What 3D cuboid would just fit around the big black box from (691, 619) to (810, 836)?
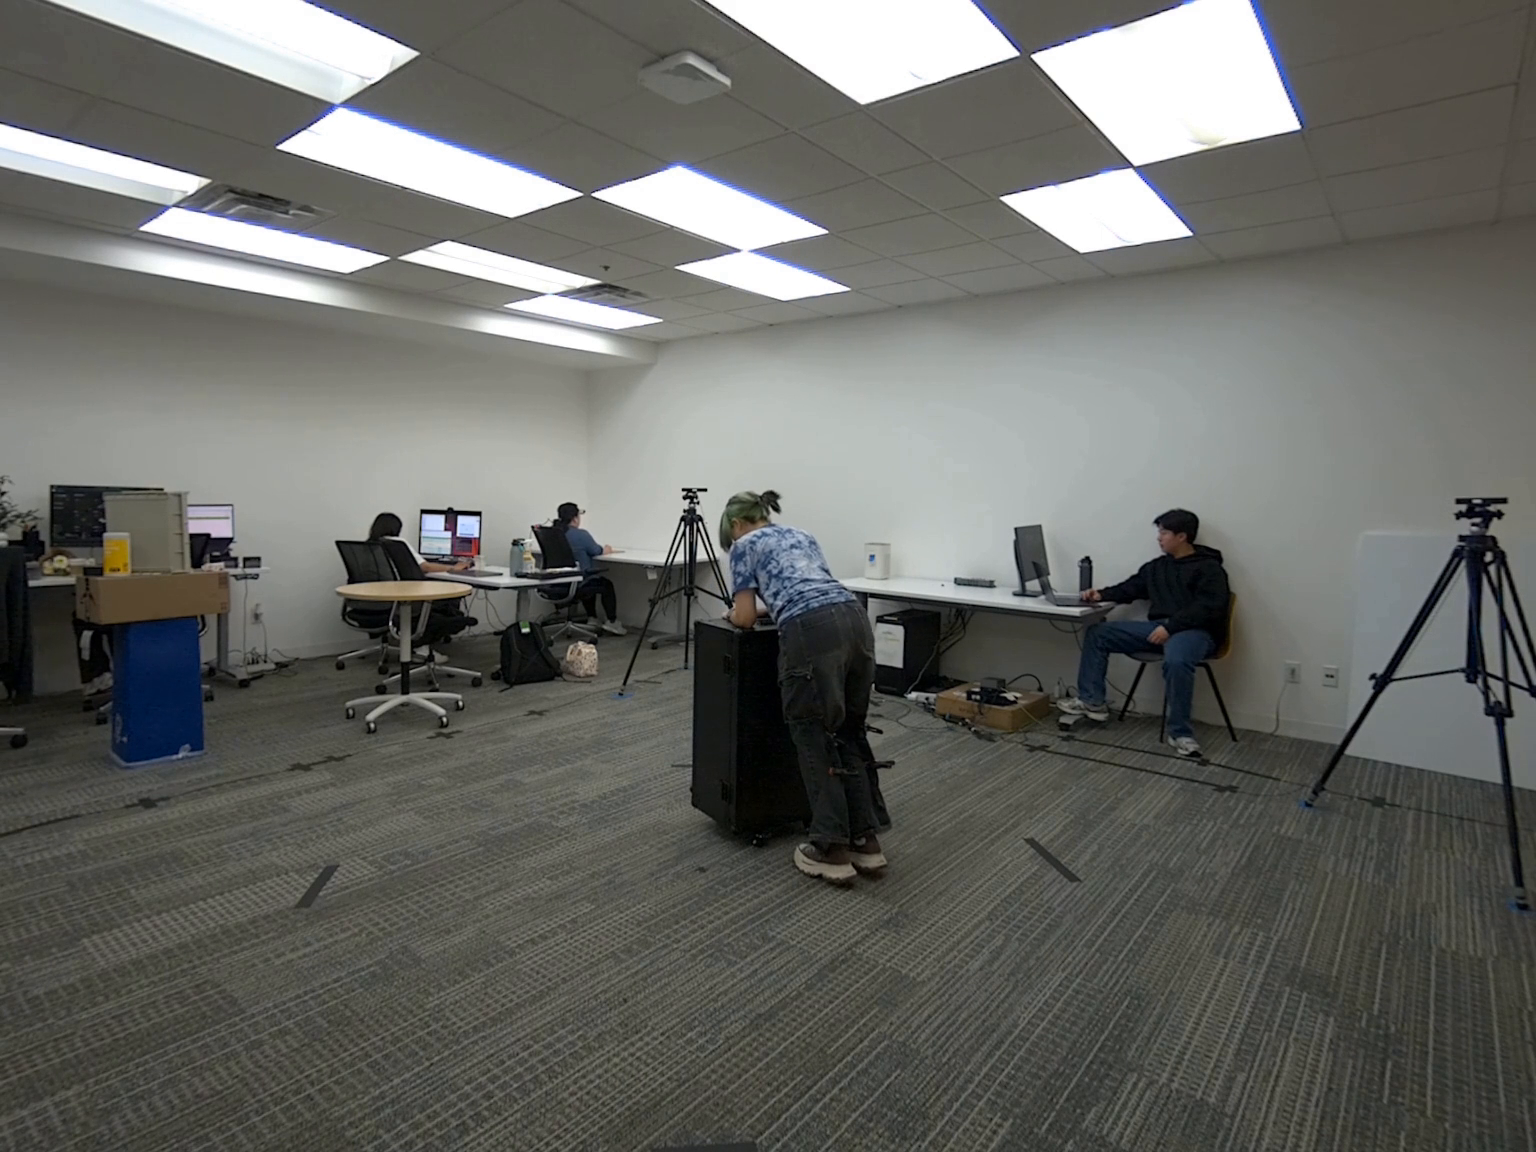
[{"bbox_3d":[-0.034,0.551,3.516,0.507,0.859,0.408,-1,3,-32],"label":"big black box"}]
